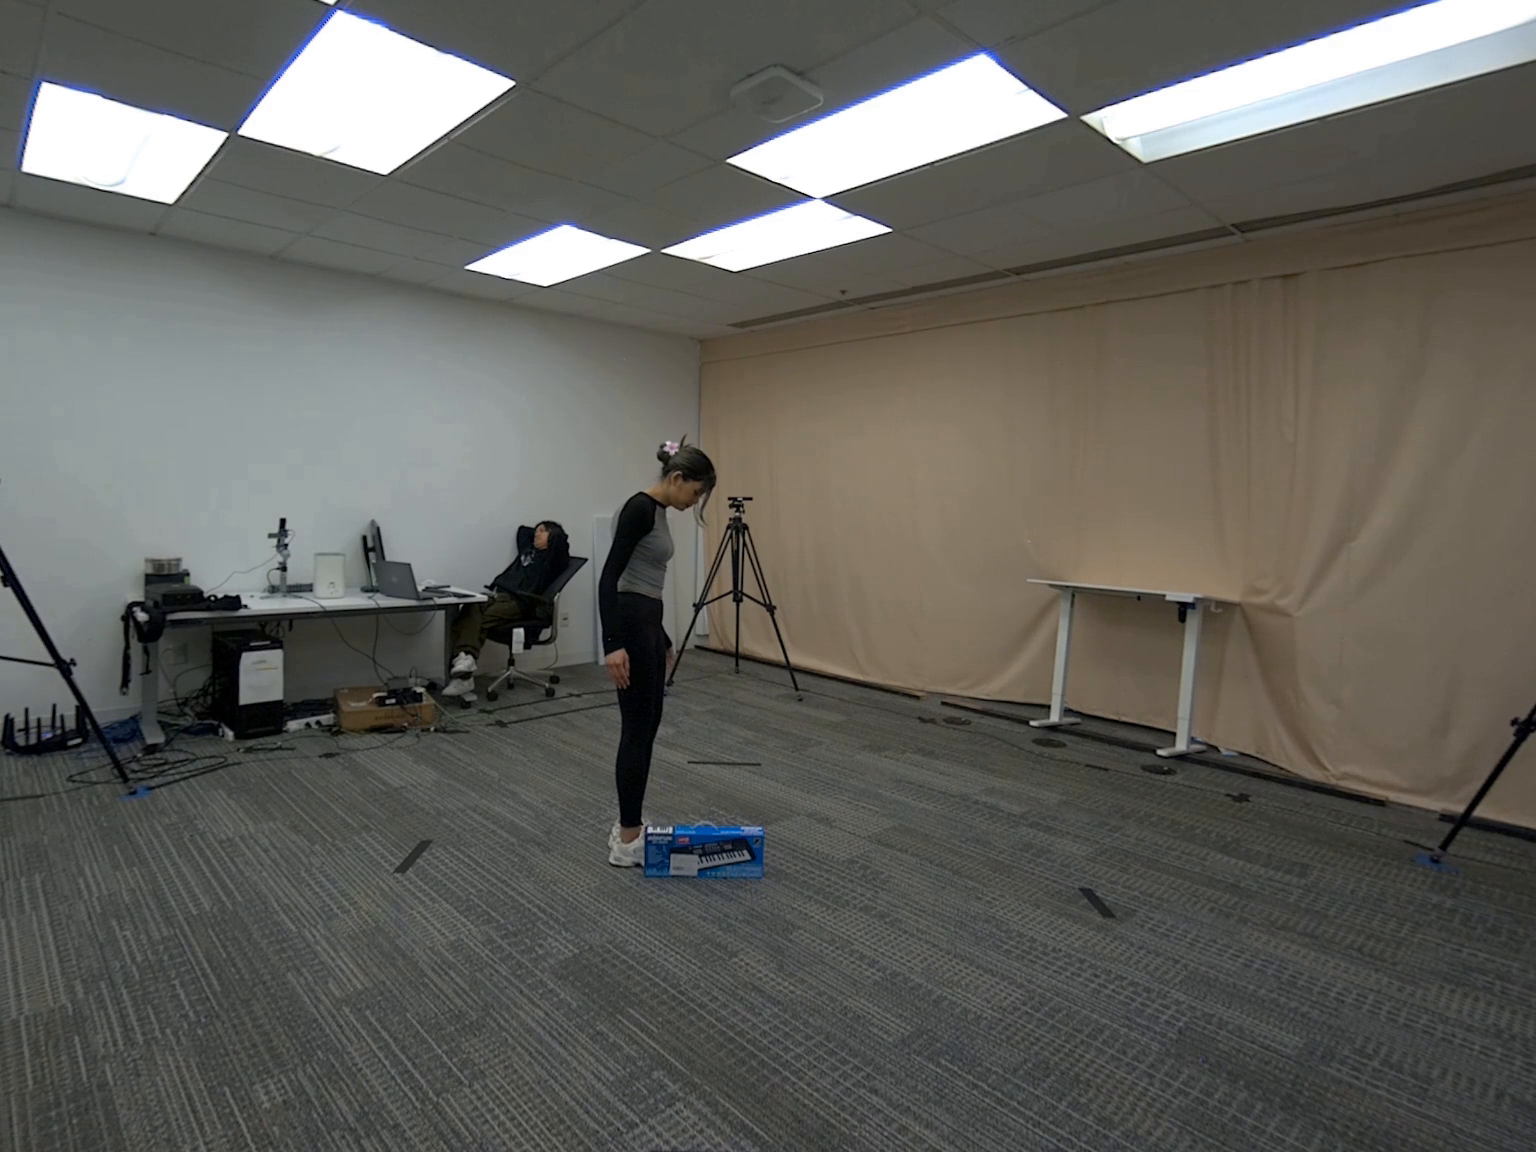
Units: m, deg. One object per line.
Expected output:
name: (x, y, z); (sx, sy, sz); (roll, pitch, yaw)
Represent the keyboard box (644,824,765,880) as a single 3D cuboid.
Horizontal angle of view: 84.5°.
keyboard box: (-0.244, 1.015, 3.098); (0.436, 0.175, 0.059); (1, 9, -2)
